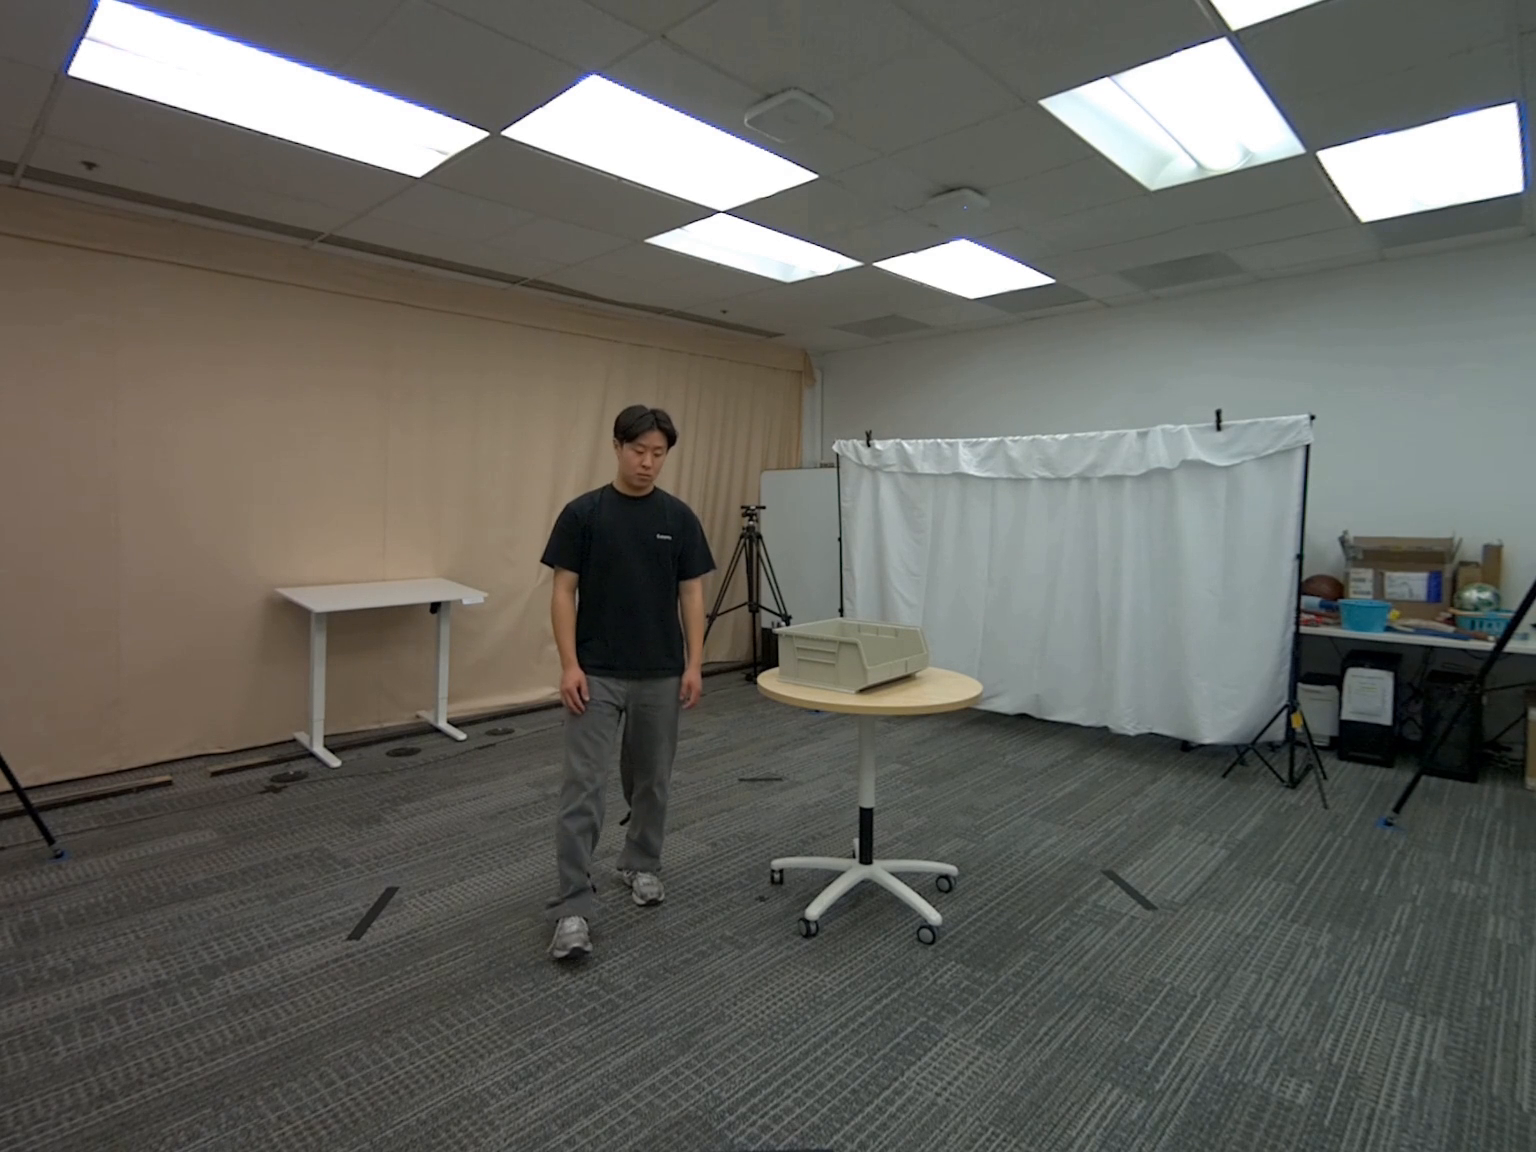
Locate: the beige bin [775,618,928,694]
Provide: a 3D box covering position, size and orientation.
[{"bbox_3d":[0.303,0.276,2.939,0.389,0.188,0.410,2,5,40],"label":"beige bin"}]
